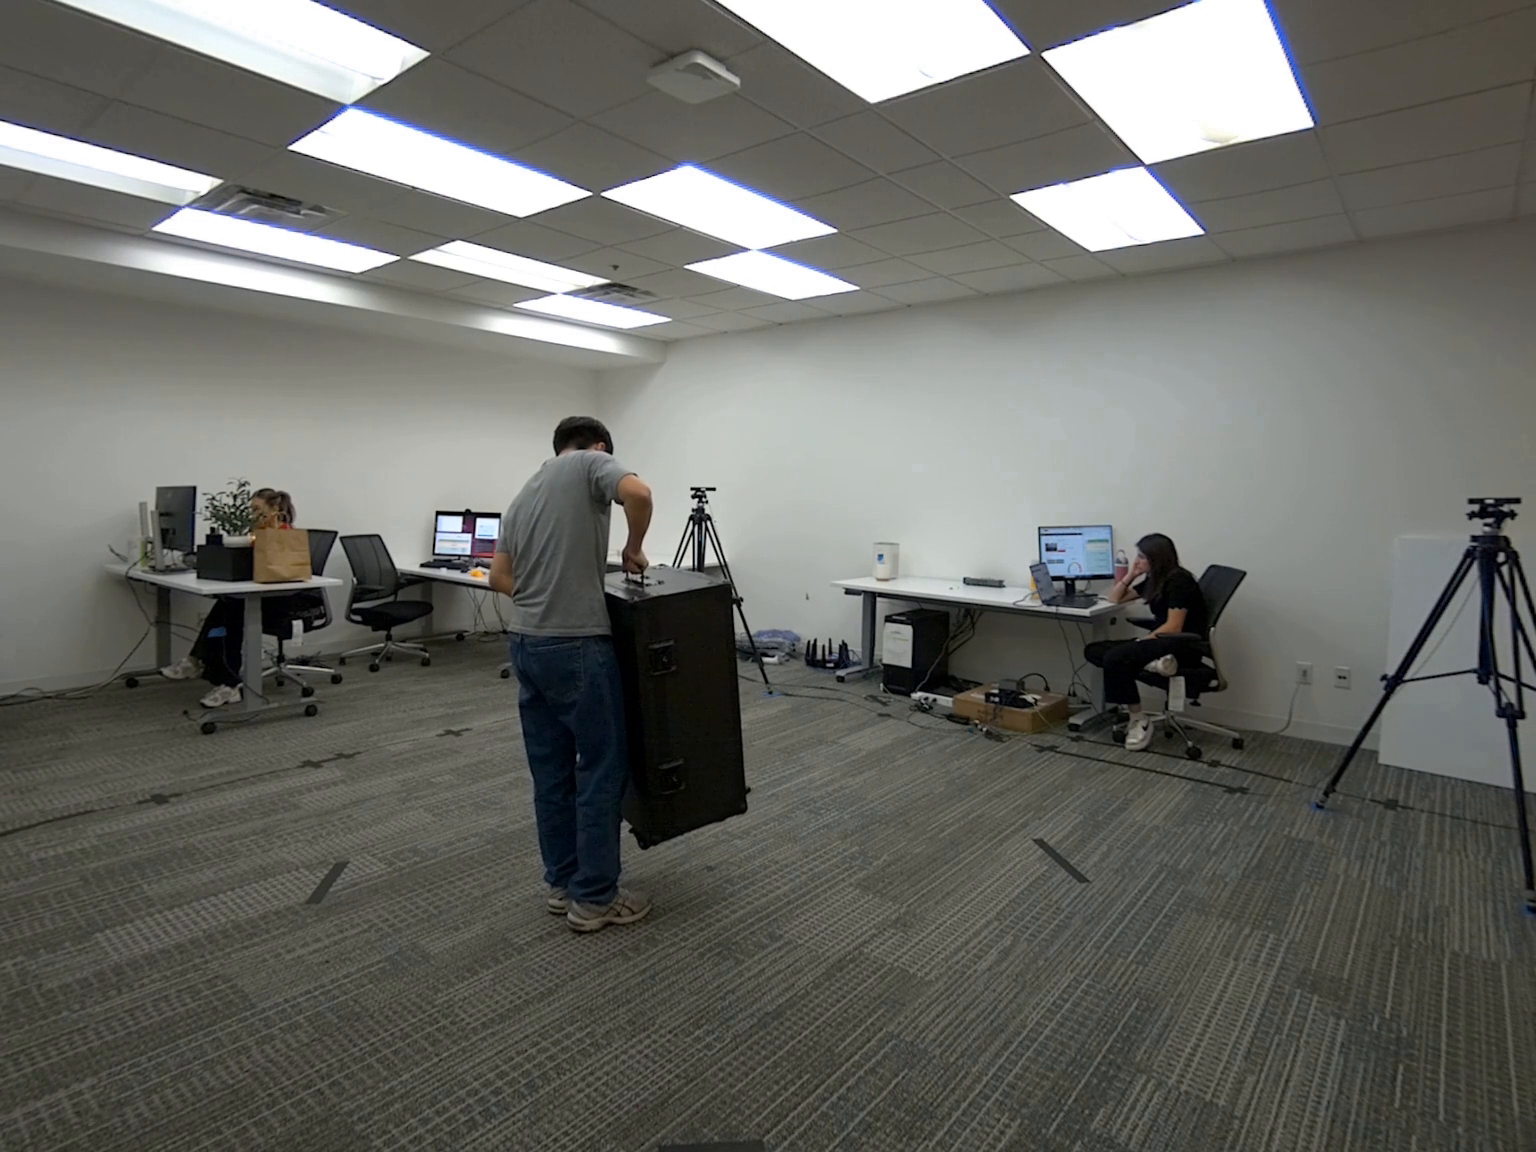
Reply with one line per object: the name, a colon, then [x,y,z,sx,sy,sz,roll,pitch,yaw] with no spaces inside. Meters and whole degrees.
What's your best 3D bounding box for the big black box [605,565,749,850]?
big black box: [-0.368,0.370,2.881,0.387,0.854,0.538,-9,10,-32]
